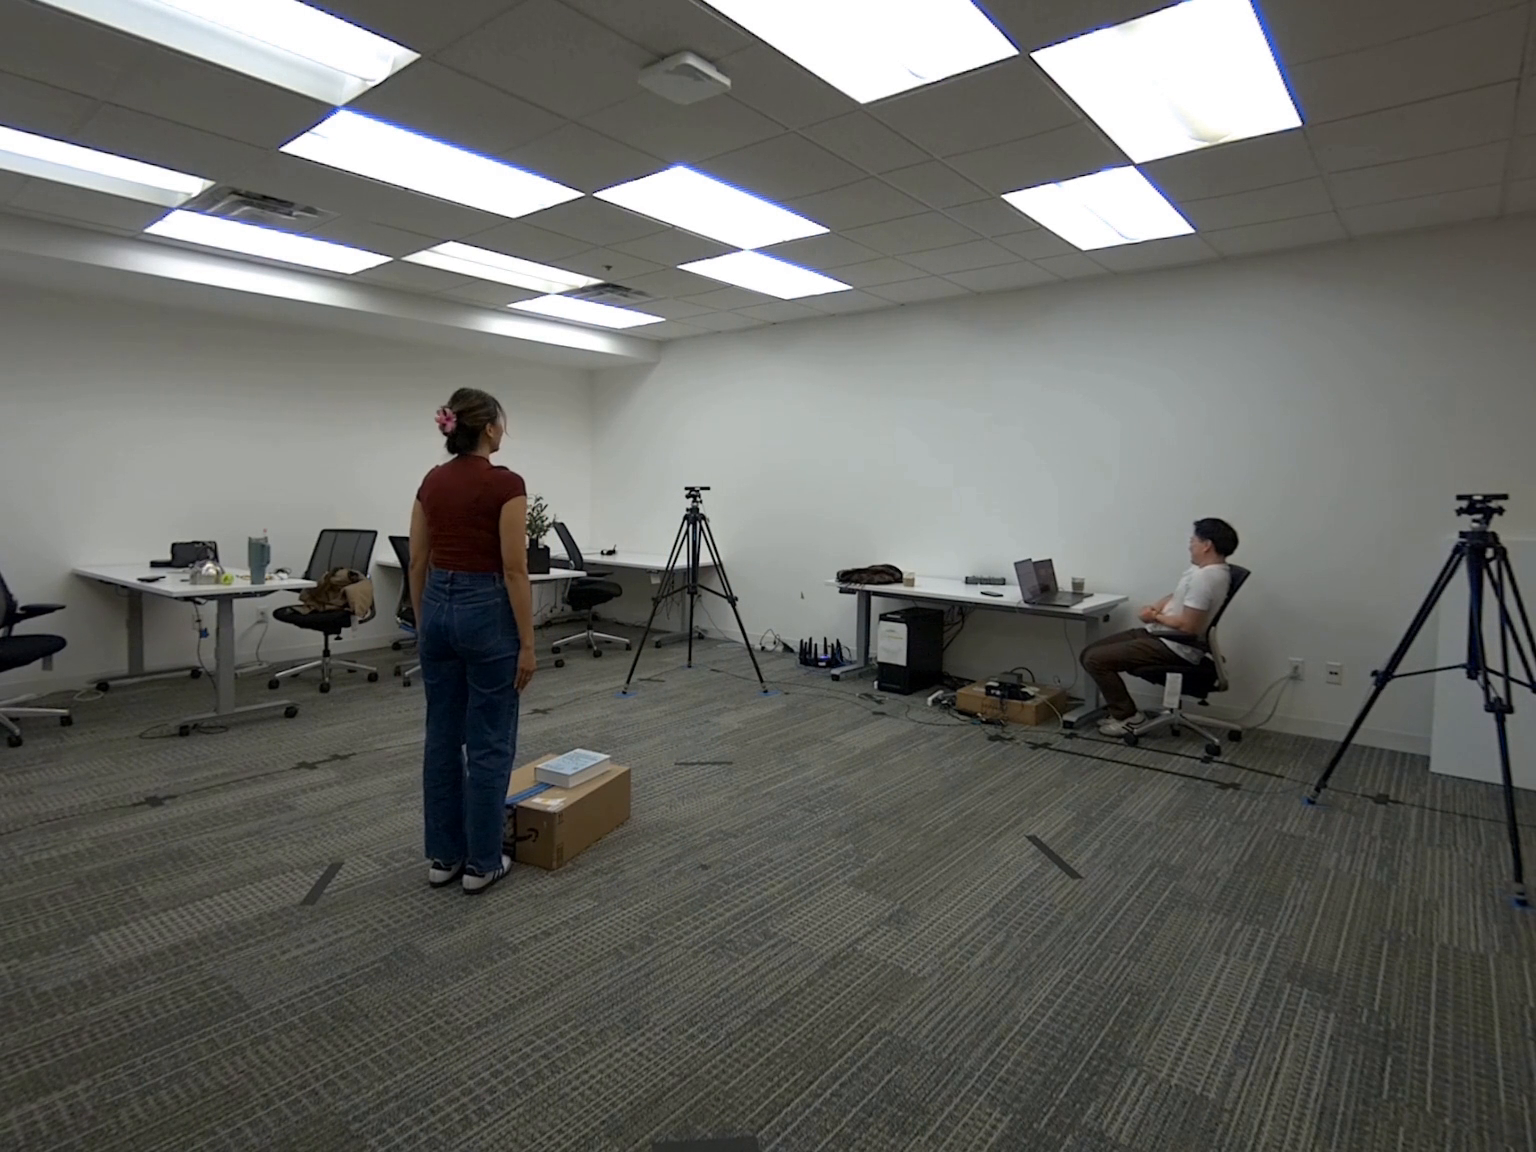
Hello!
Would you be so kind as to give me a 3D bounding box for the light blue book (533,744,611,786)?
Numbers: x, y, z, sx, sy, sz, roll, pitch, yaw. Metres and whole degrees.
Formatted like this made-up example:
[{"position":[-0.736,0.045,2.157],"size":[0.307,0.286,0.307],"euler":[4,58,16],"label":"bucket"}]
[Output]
[{"position":[-0.809,0.776,3.476],"size":[0.197,0.059,0.255],"euler":[4,8,29],"label":"light blue book"}]
